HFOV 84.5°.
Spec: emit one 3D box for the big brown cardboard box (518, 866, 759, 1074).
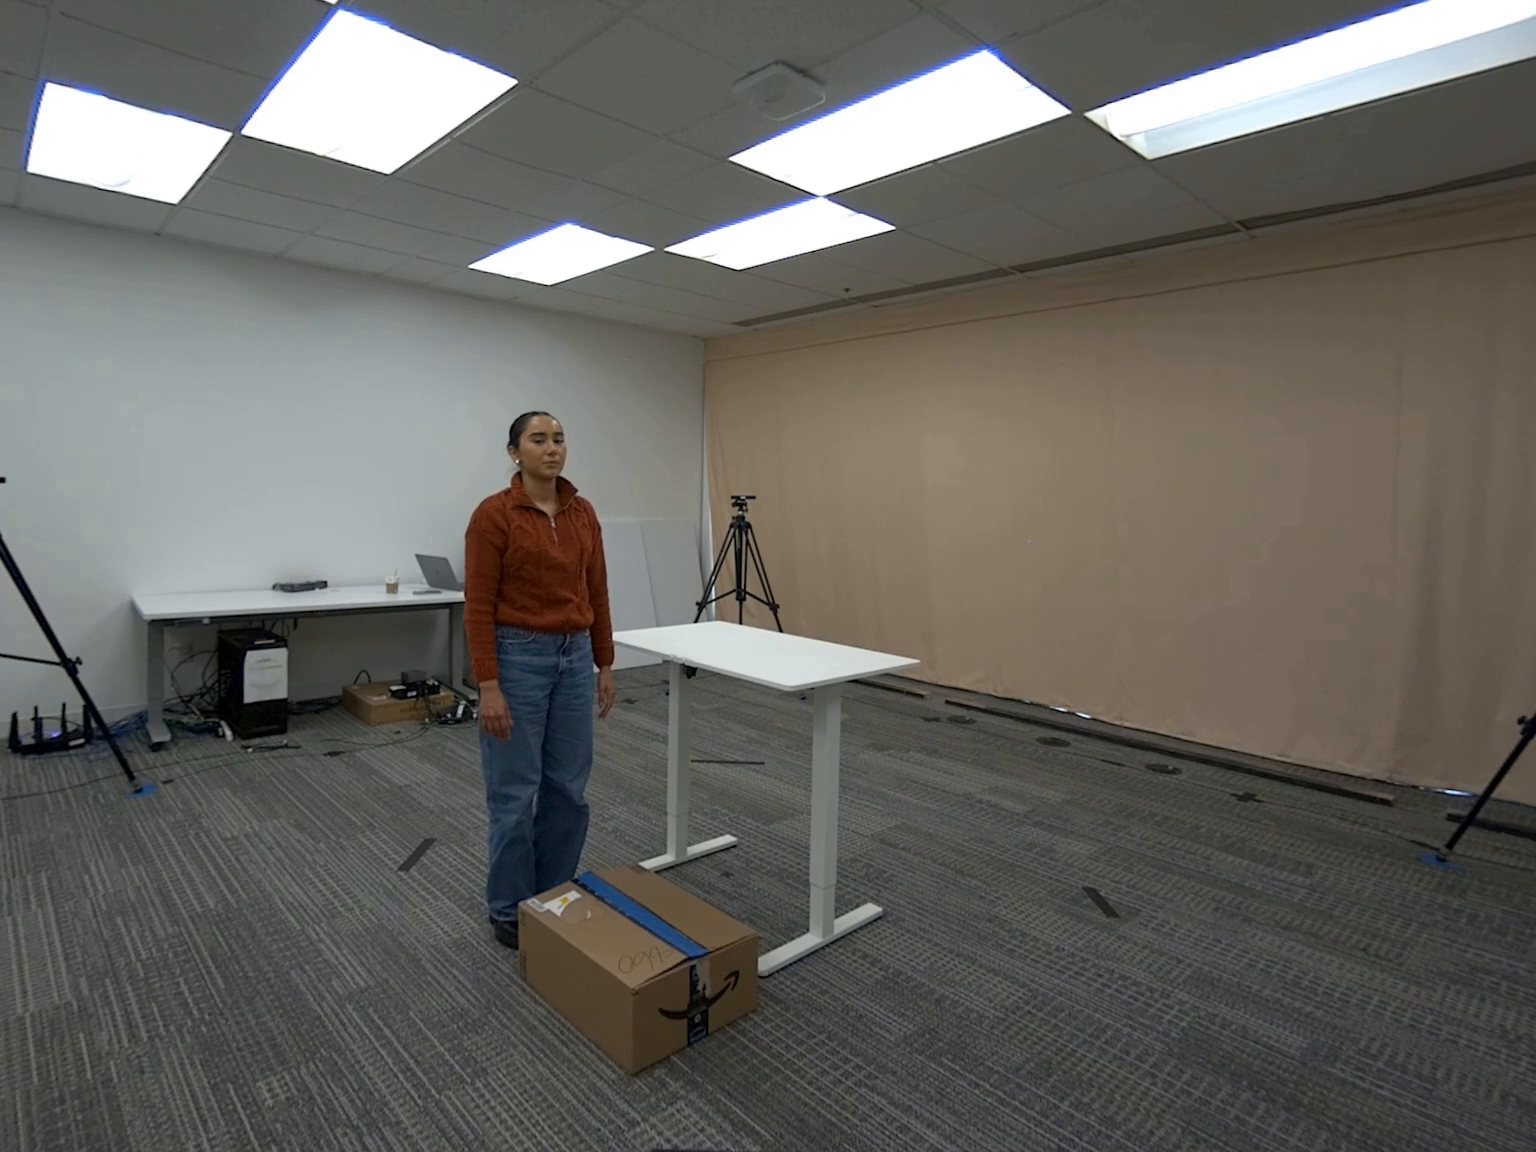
[{"bbox_3d":[-0.378,1.059,2.348,0.408,0.232,0.604,-4,8,-43],"label":"big brown cardboard box"}]
